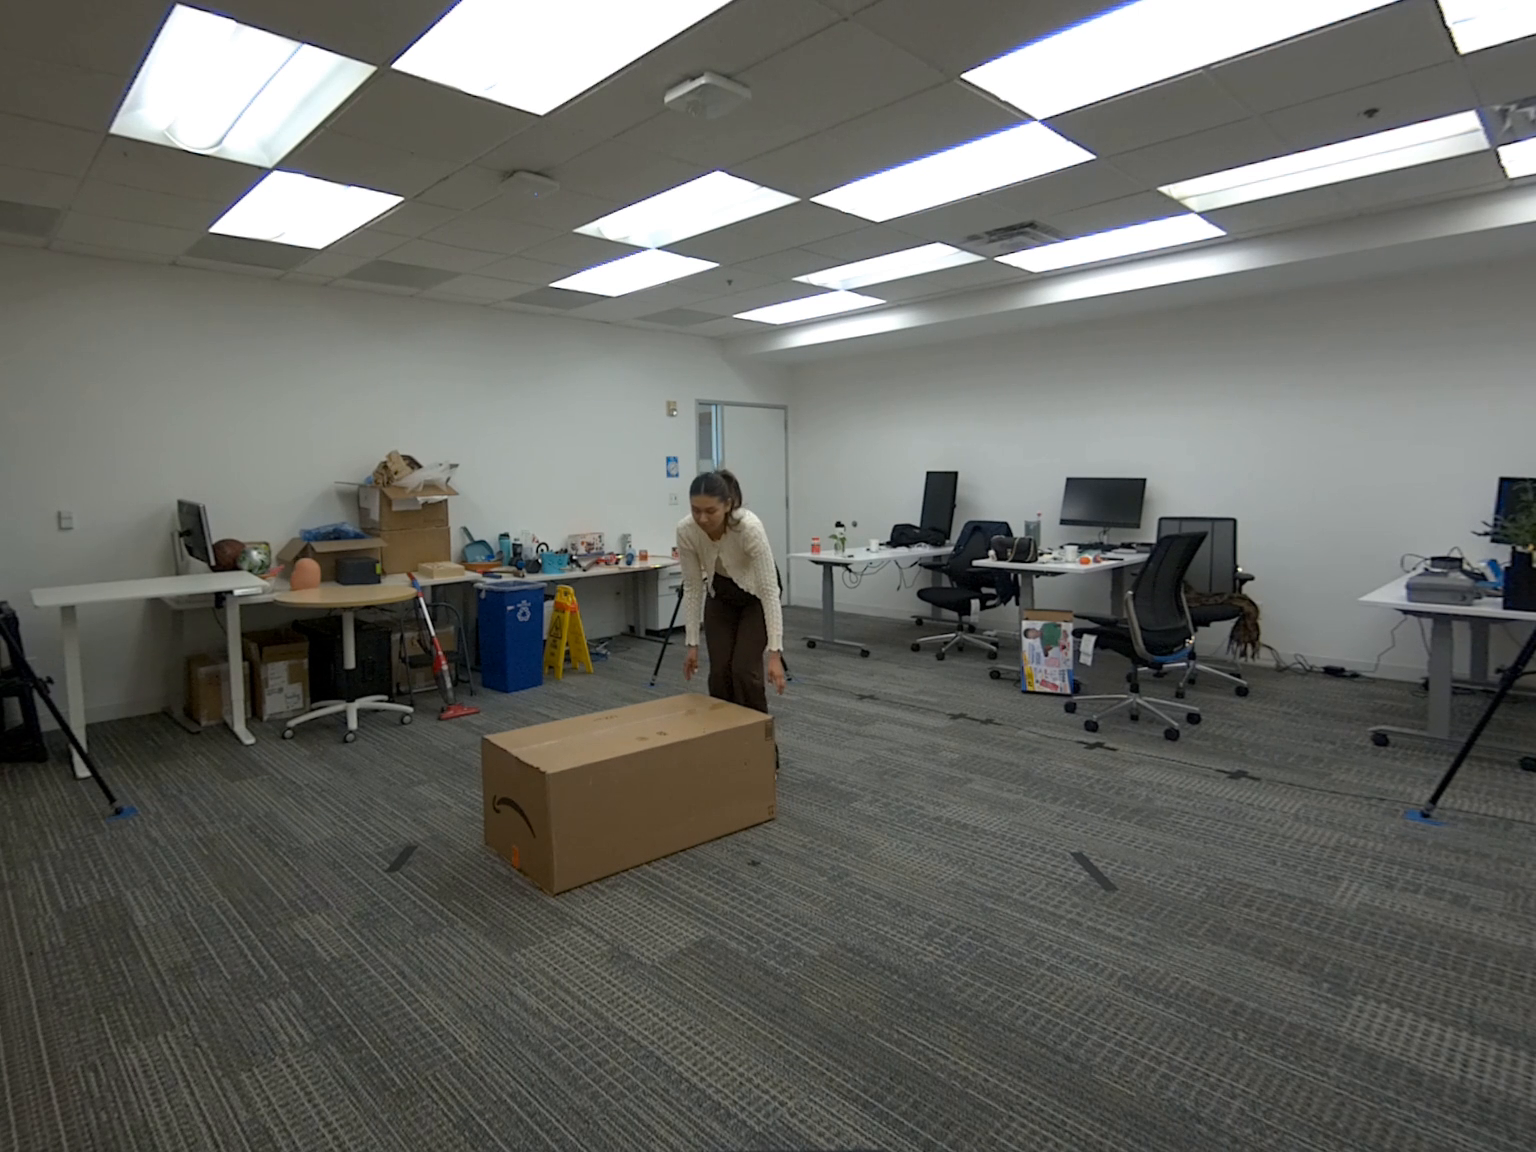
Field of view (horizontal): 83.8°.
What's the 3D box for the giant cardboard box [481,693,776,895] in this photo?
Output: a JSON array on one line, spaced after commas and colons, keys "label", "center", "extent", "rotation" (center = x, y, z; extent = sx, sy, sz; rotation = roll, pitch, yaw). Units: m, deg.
[{"label": "giant cardboard box", "center": [-0.537, 0.807, 3.402], "extent": [0.999, 0.424, 0.595], "rotation": [-6, 7, -39]}]
